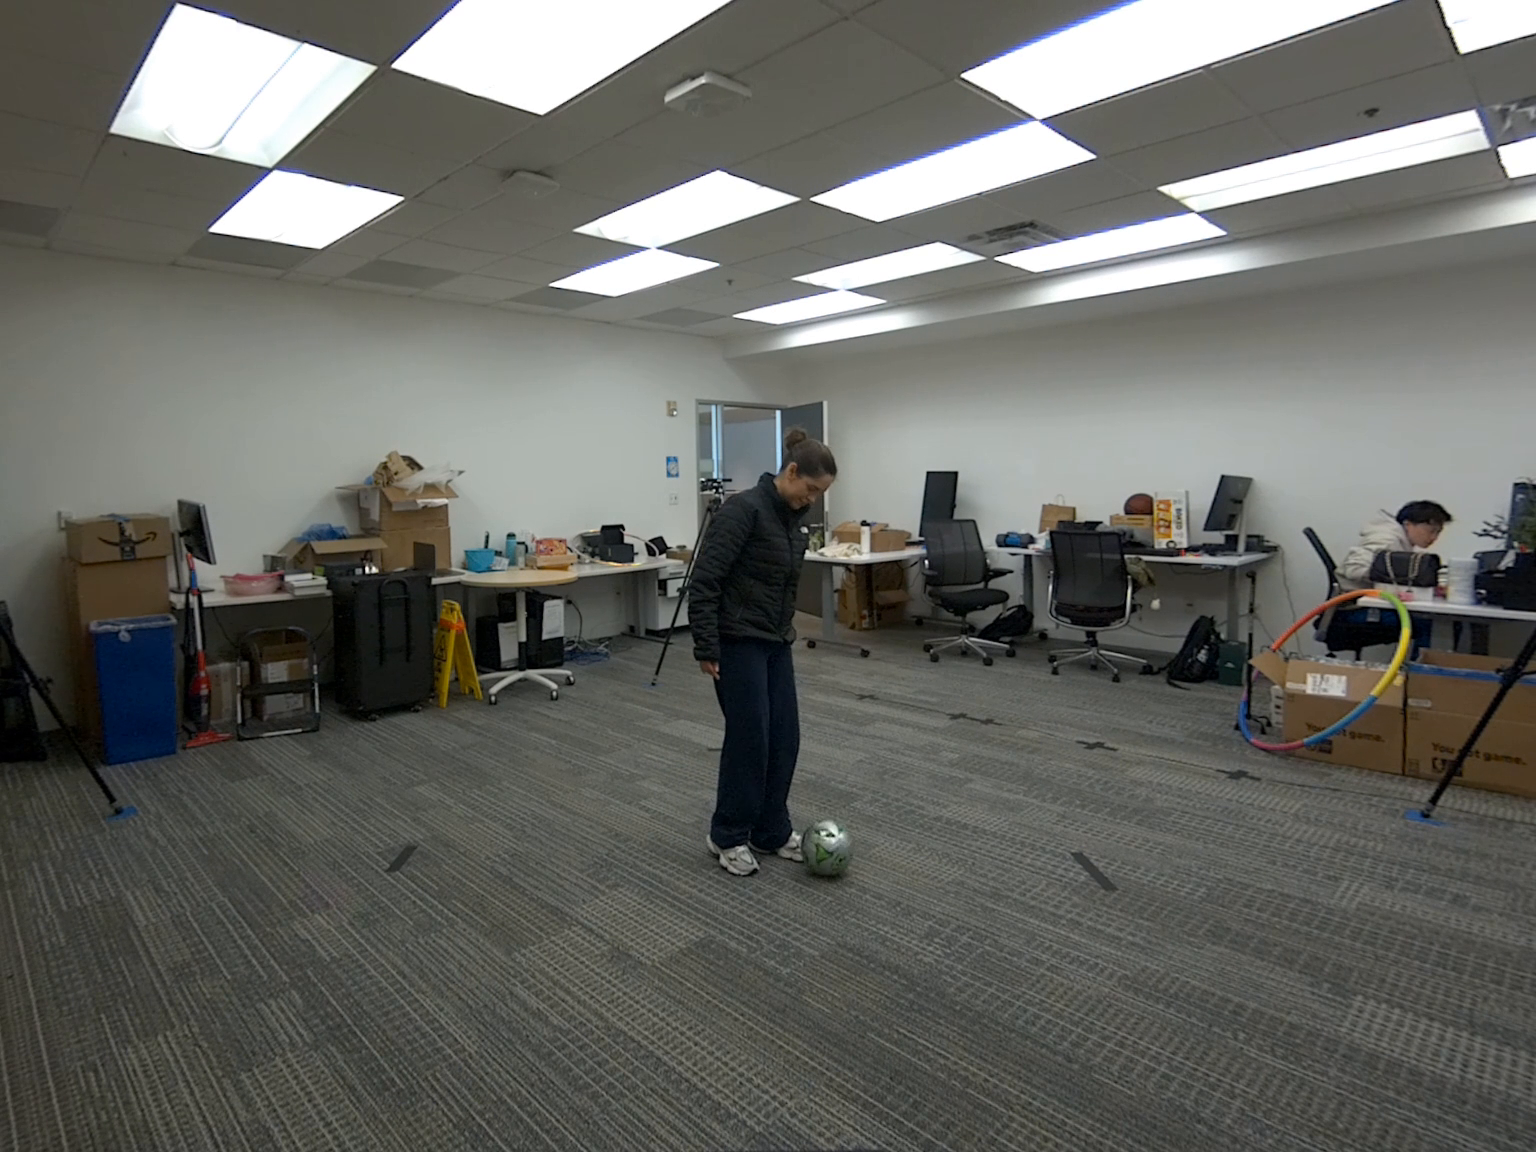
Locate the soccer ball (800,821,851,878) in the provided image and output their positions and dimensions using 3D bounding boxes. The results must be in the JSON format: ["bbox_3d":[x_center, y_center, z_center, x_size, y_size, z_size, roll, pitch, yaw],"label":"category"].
[{"bbox_3d":[0.211,0.955,3.007,0.187,0.187,0.188,-1,5,-2],"label":"soccer ball"}]
